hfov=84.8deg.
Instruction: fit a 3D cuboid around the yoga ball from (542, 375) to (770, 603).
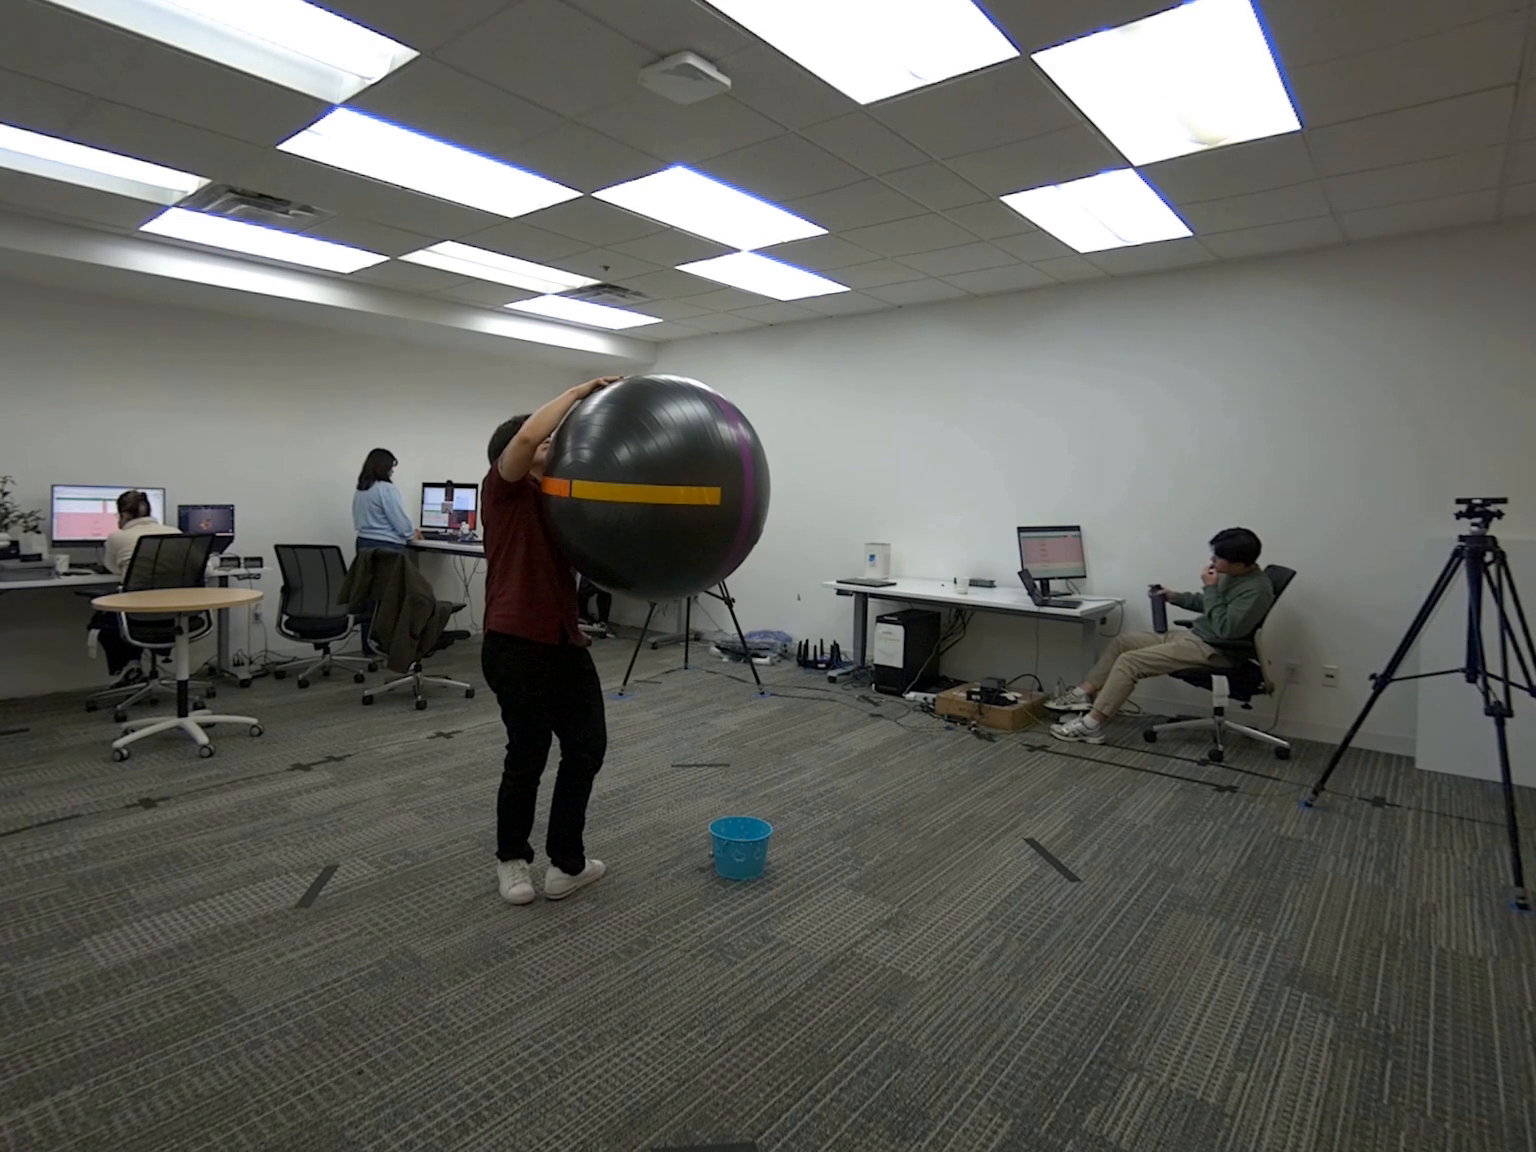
[{"bbox_3d":[-0.377,-0.288,2.835,0.757,0.756,0.762,1,4,-2],"label":"yoga ball"}]
